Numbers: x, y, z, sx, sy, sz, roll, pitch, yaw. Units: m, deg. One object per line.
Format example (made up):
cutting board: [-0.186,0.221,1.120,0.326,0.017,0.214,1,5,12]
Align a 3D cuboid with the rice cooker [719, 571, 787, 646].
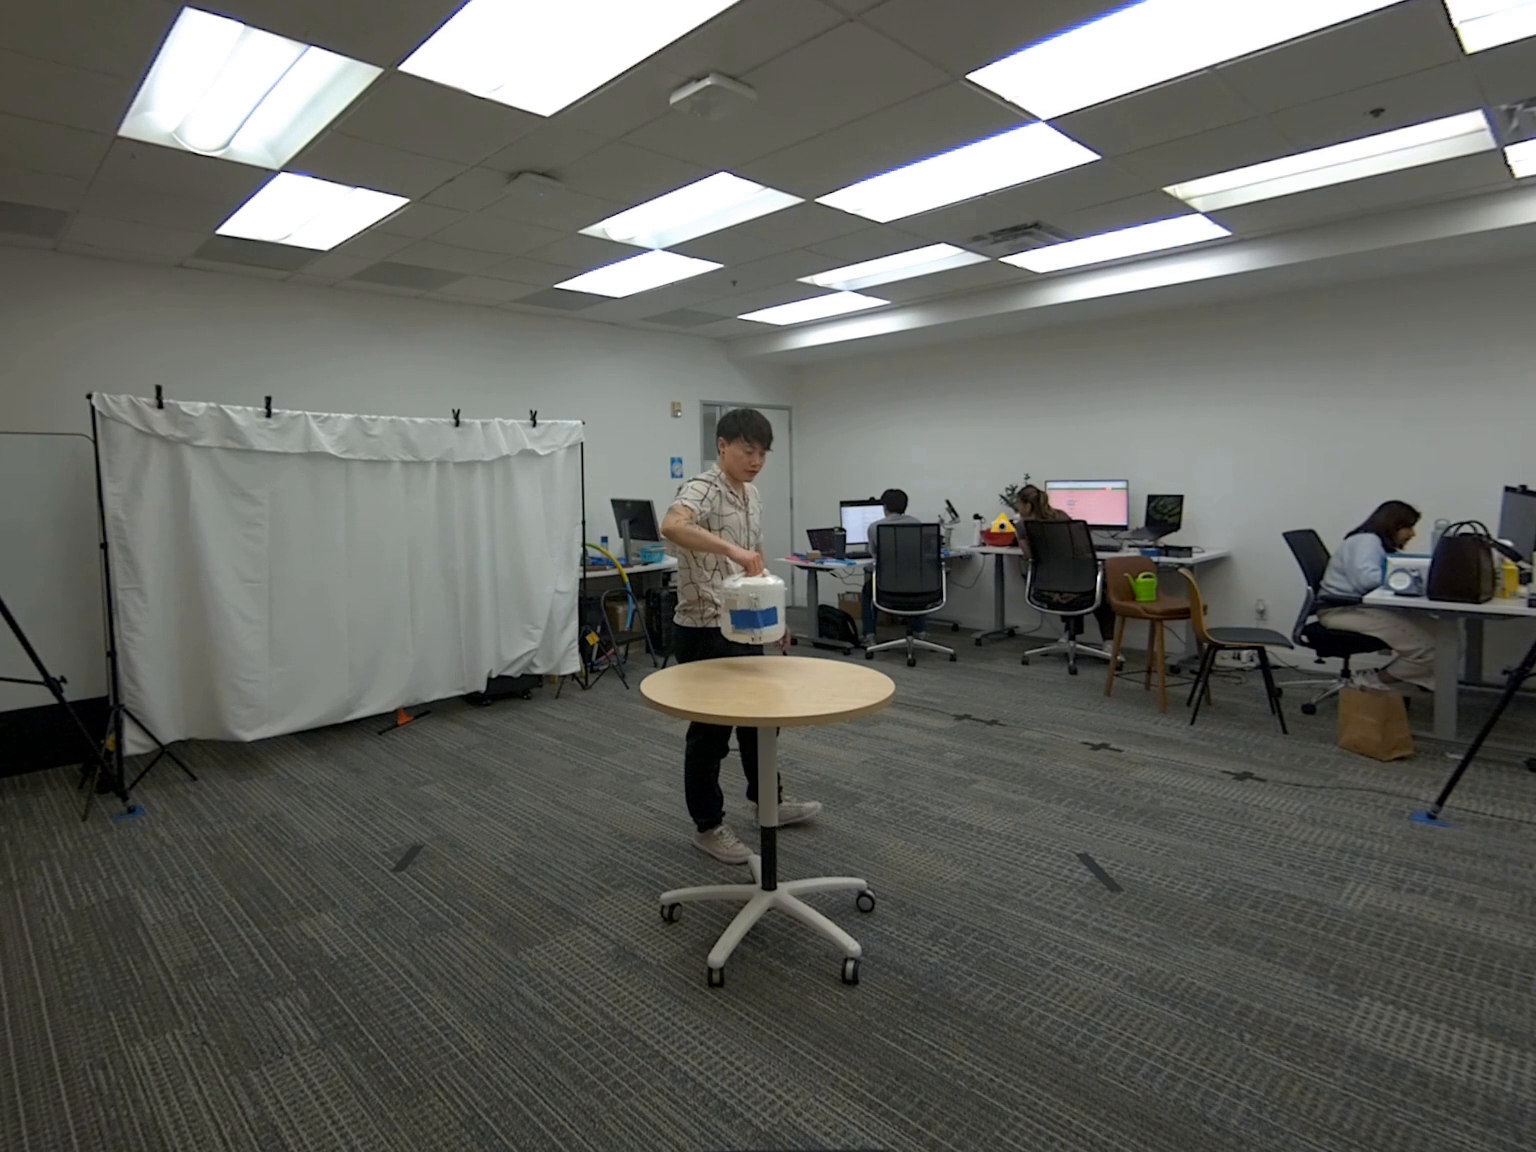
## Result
rice cooker: [-0.053,0.093,2.759,0.224,0.232,0.214,4,5,41]
